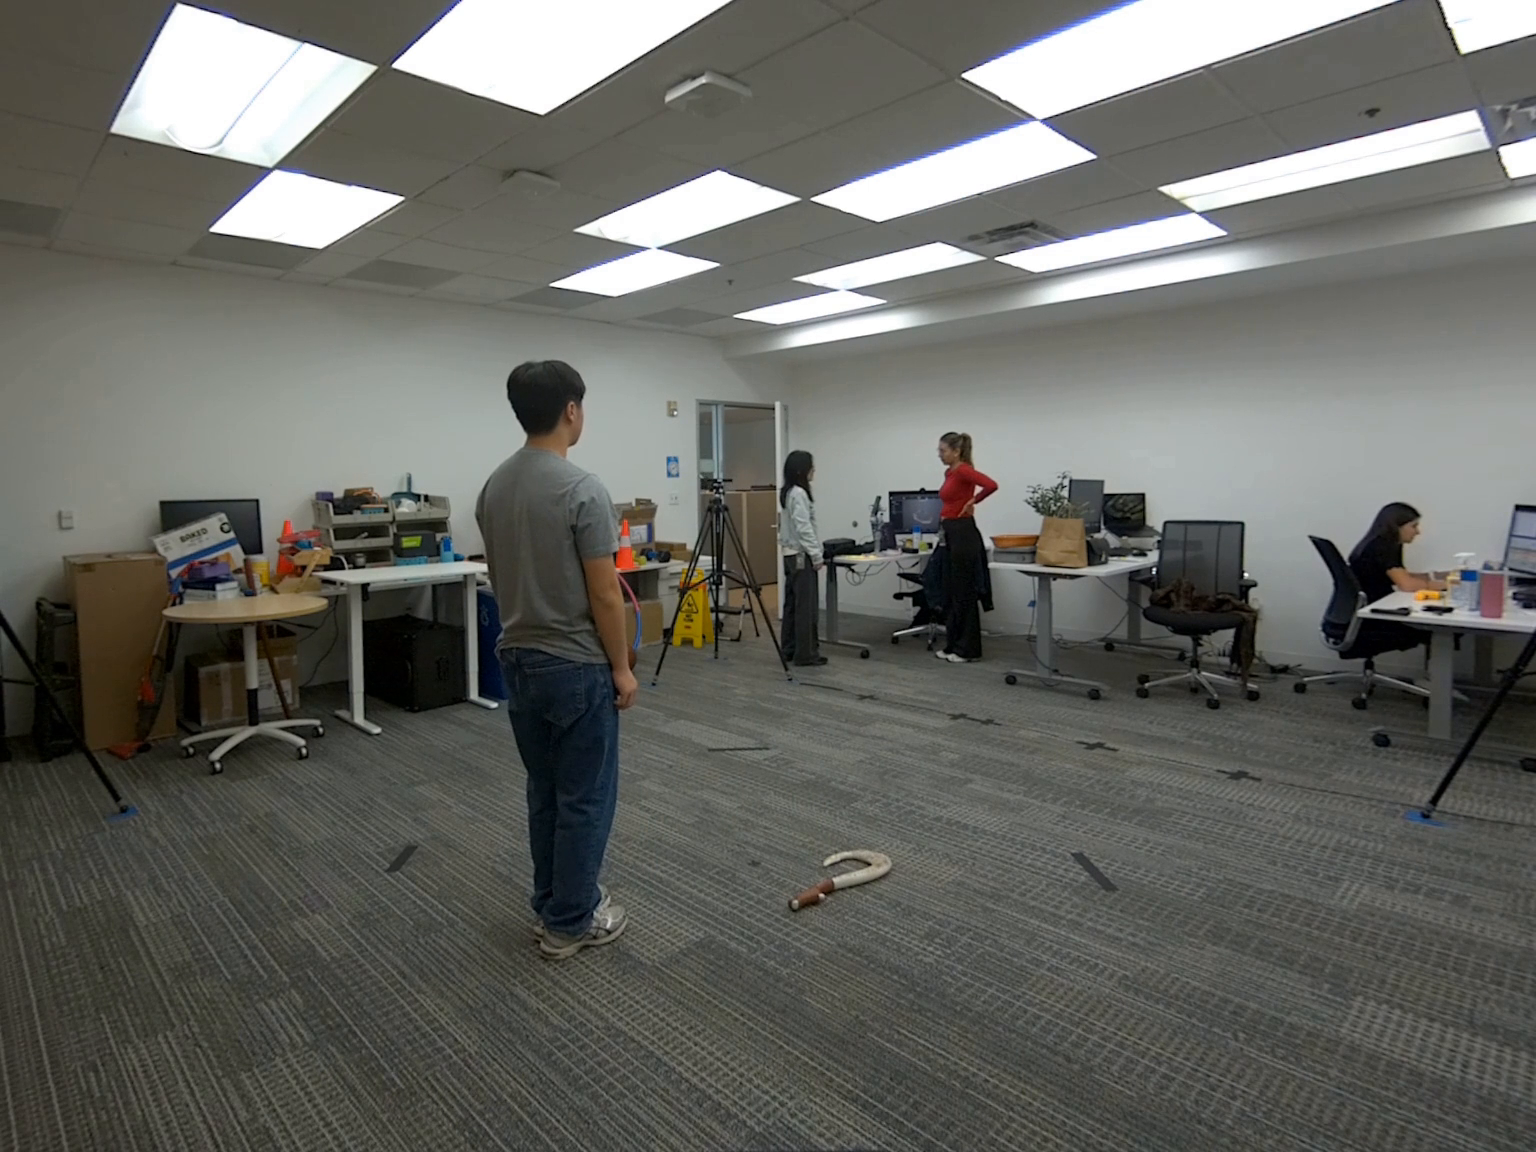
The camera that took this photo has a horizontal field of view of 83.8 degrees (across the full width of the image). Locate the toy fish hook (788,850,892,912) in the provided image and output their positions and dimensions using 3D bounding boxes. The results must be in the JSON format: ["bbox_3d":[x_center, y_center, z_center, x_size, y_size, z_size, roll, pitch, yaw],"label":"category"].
[{"bbox_3d":[0.223,1.043,2.954,0.493,0.048,0.230,-6,1,-43],"label":"toy fish hook"}]
